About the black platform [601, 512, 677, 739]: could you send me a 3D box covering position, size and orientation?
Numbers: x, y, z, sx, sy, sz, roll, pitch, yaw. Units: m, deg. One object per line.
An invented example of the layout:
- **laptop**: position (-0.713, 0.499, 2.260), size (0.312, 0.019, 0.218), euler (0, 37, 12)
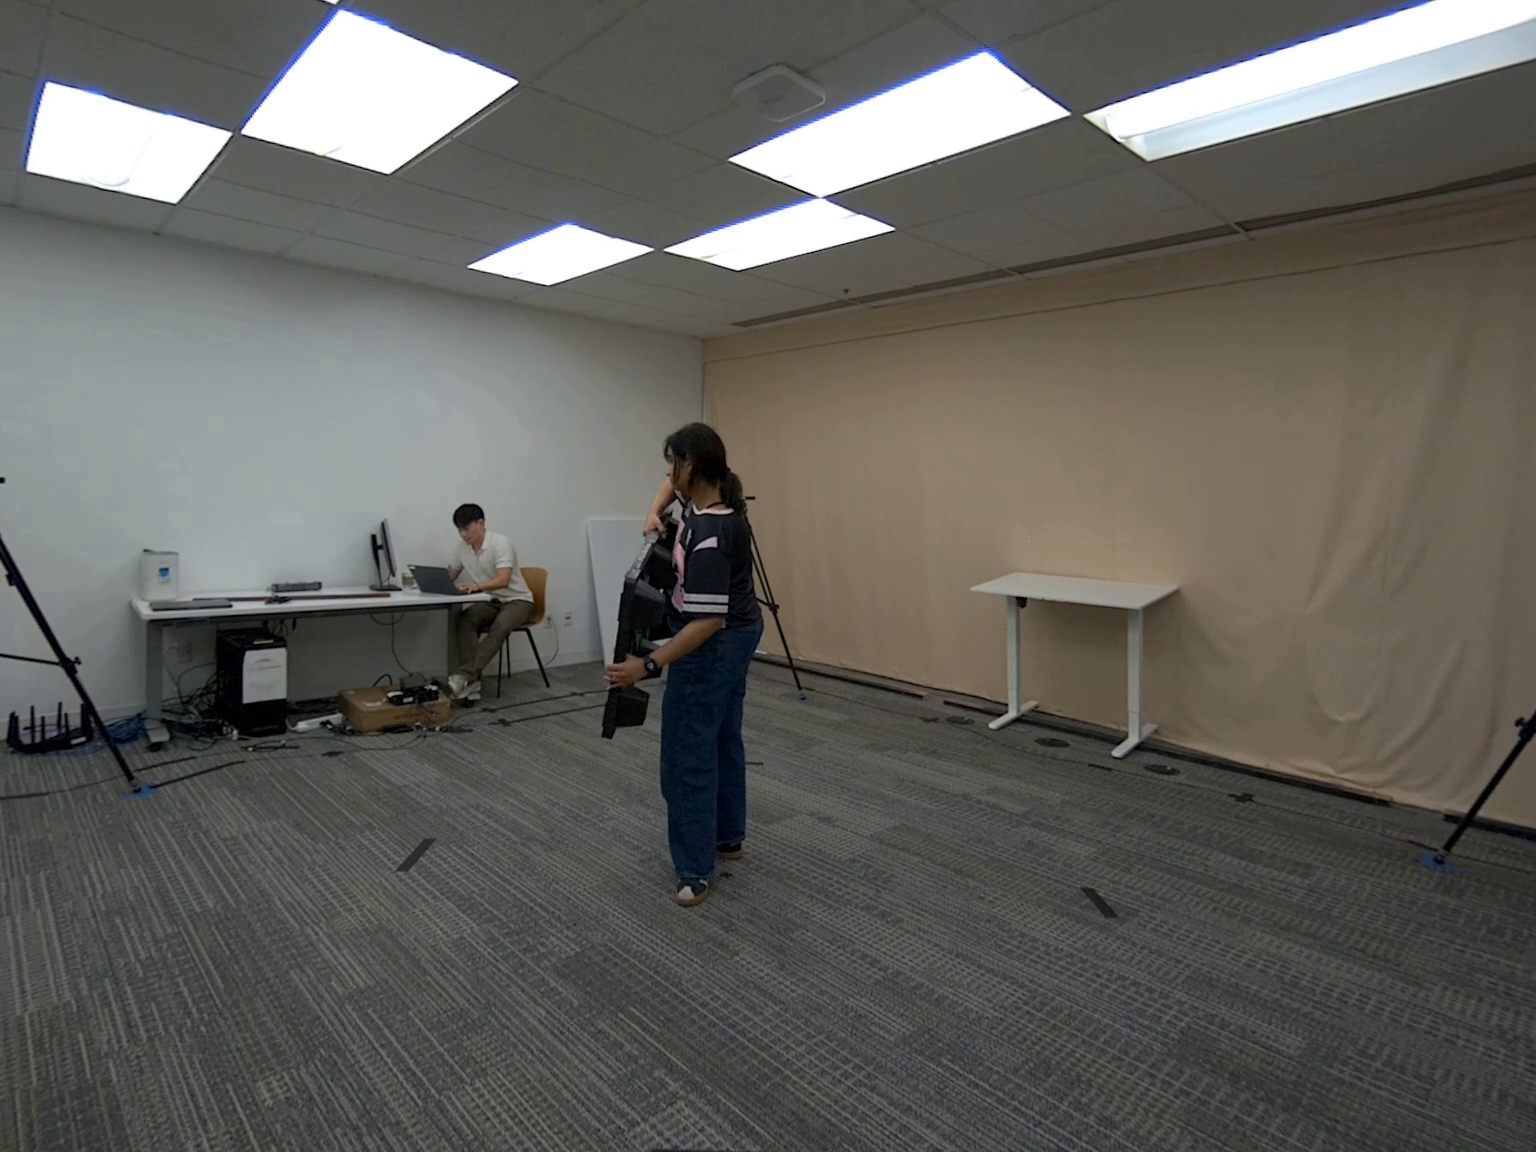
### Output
- **black platform**: position (-0.438, 0.143, 3.111), size (0.143, 0.598, 0.814), euler (11, 21, -1)
